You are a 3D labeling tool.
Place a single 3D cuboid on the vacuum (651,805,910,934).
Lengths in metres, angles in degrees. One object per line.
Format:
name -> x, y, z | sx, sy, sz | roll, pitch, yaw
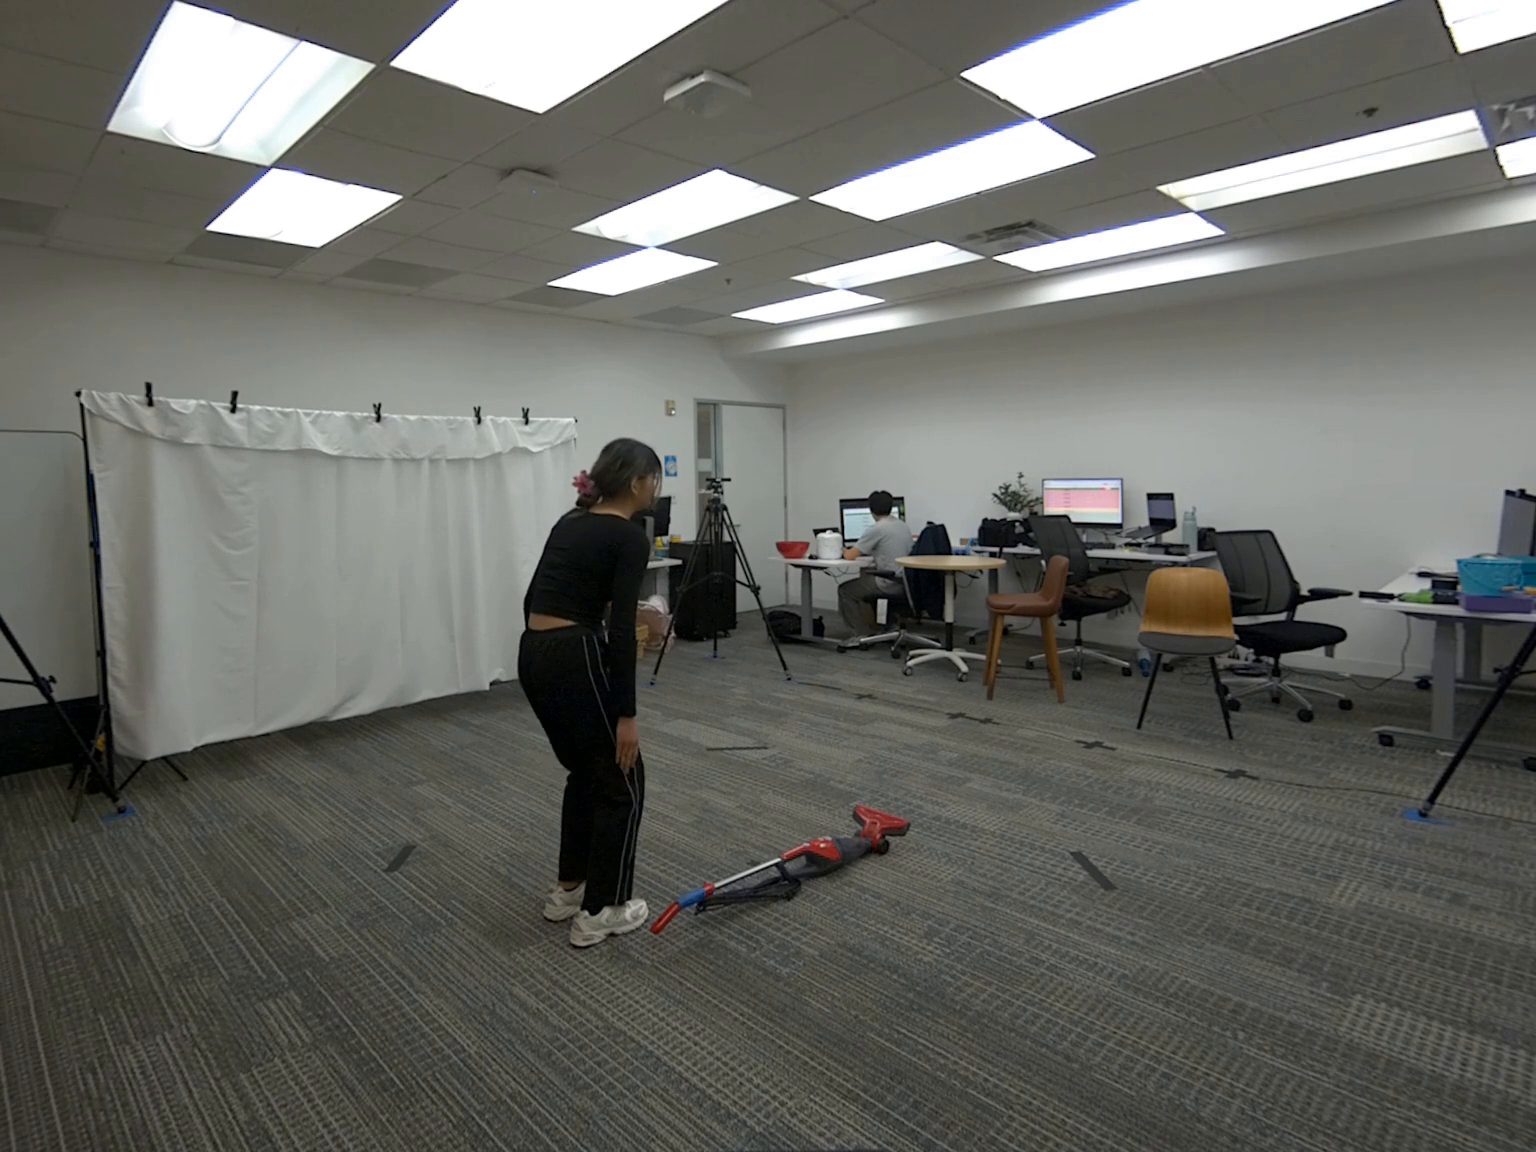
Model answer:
vacuum -> 0.049, 1.011, 2.891 | 1.023, 0.143, 0.260 | -8, 10, -41
